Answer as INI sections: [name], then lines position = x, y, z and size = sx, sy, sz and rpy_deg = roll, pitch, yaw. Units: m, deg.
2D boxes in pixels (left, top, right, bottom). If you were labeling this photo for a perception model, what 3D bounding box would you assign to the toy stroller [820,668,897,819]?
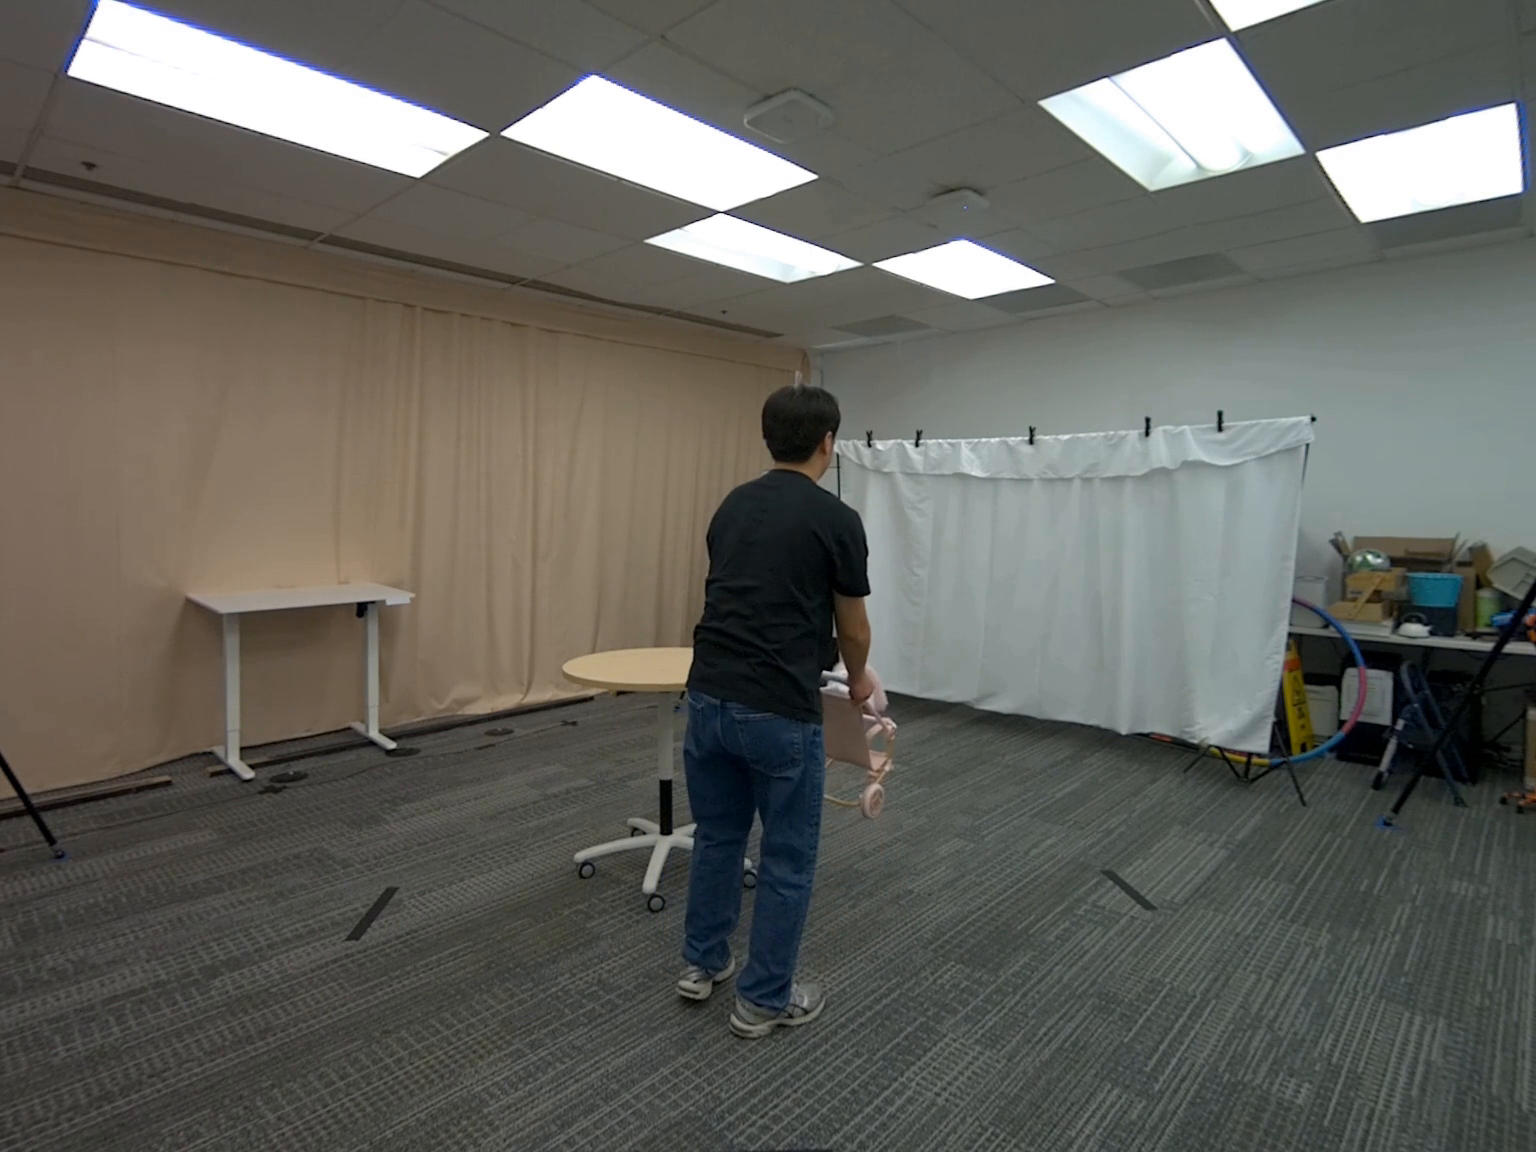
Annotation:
[toy stroller]
position = 0.281, 0.518, 2.733
size = 0.291, 0.530, 0.333
rpy_deg = 6, 17, 41
